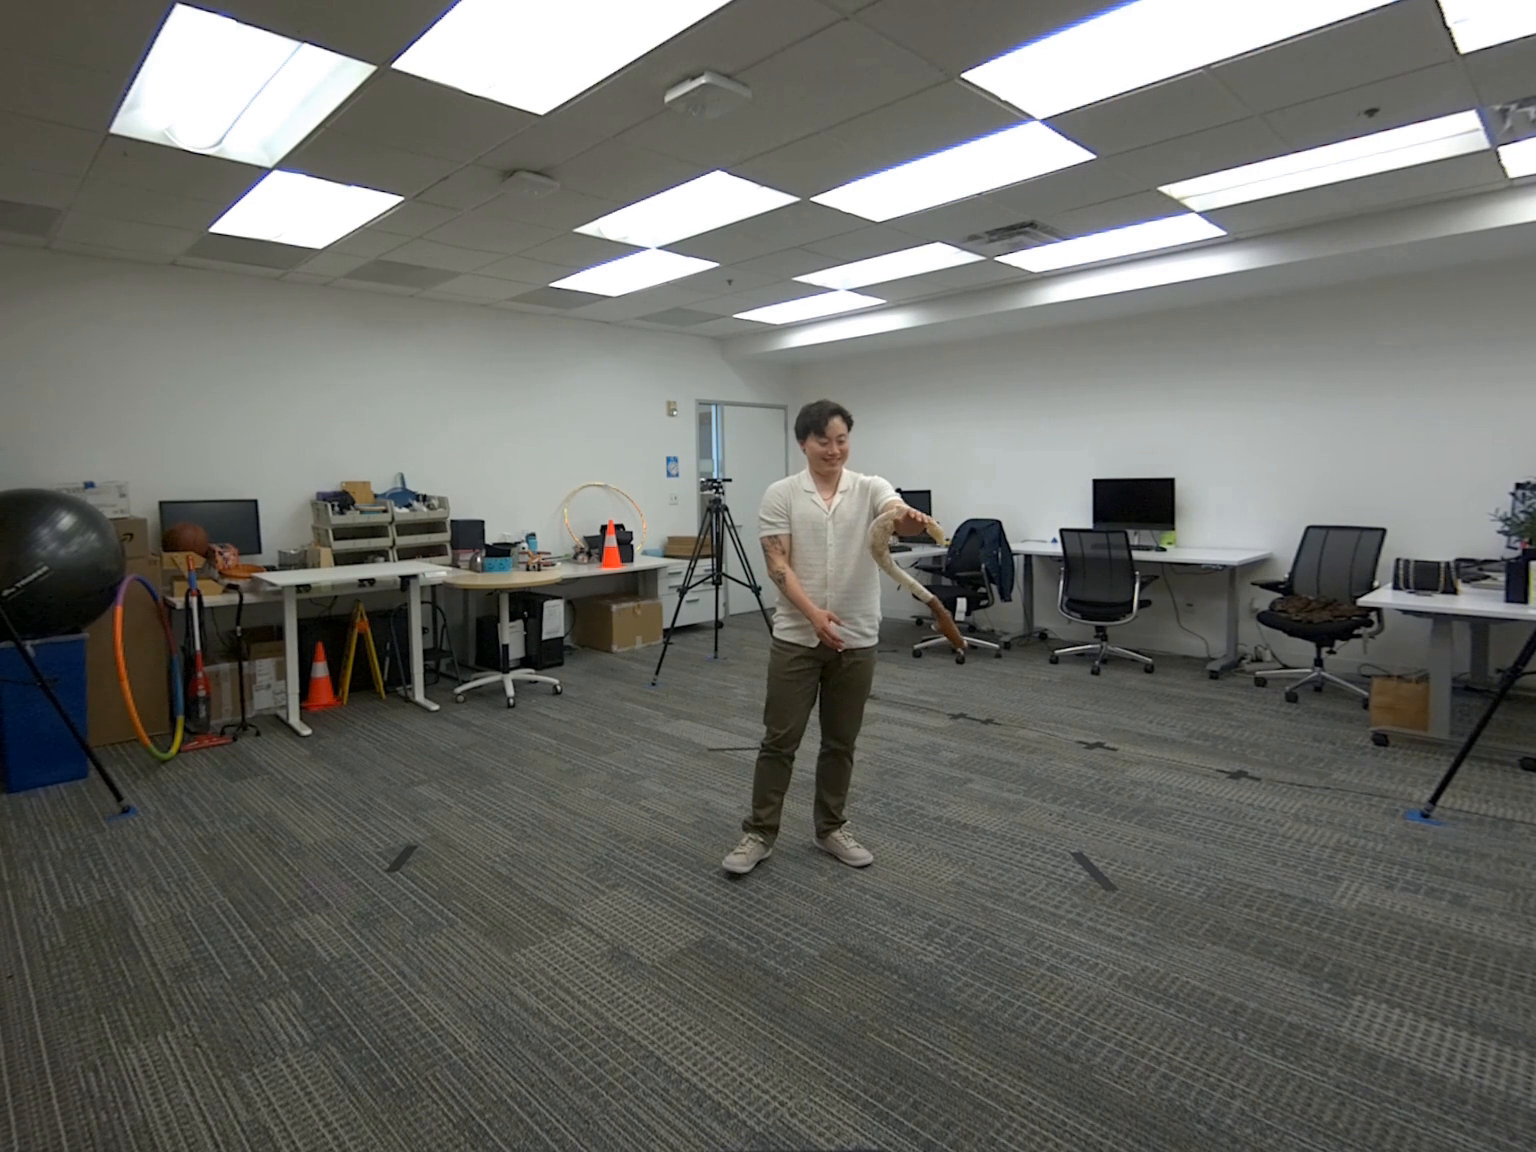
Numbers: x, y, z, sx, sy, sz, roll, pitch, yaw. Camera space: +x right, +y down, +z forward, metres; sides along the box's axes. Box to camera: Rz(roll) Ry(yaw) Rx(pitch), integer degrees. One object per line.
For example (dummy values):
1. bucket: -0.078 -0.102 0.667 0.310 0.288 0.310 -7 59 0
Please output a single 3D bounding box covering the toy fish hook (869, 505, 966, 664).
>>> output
1. toy fish hook: 0.510 0.007 2.686 0.226 0.504 0.048 -34 3 17
